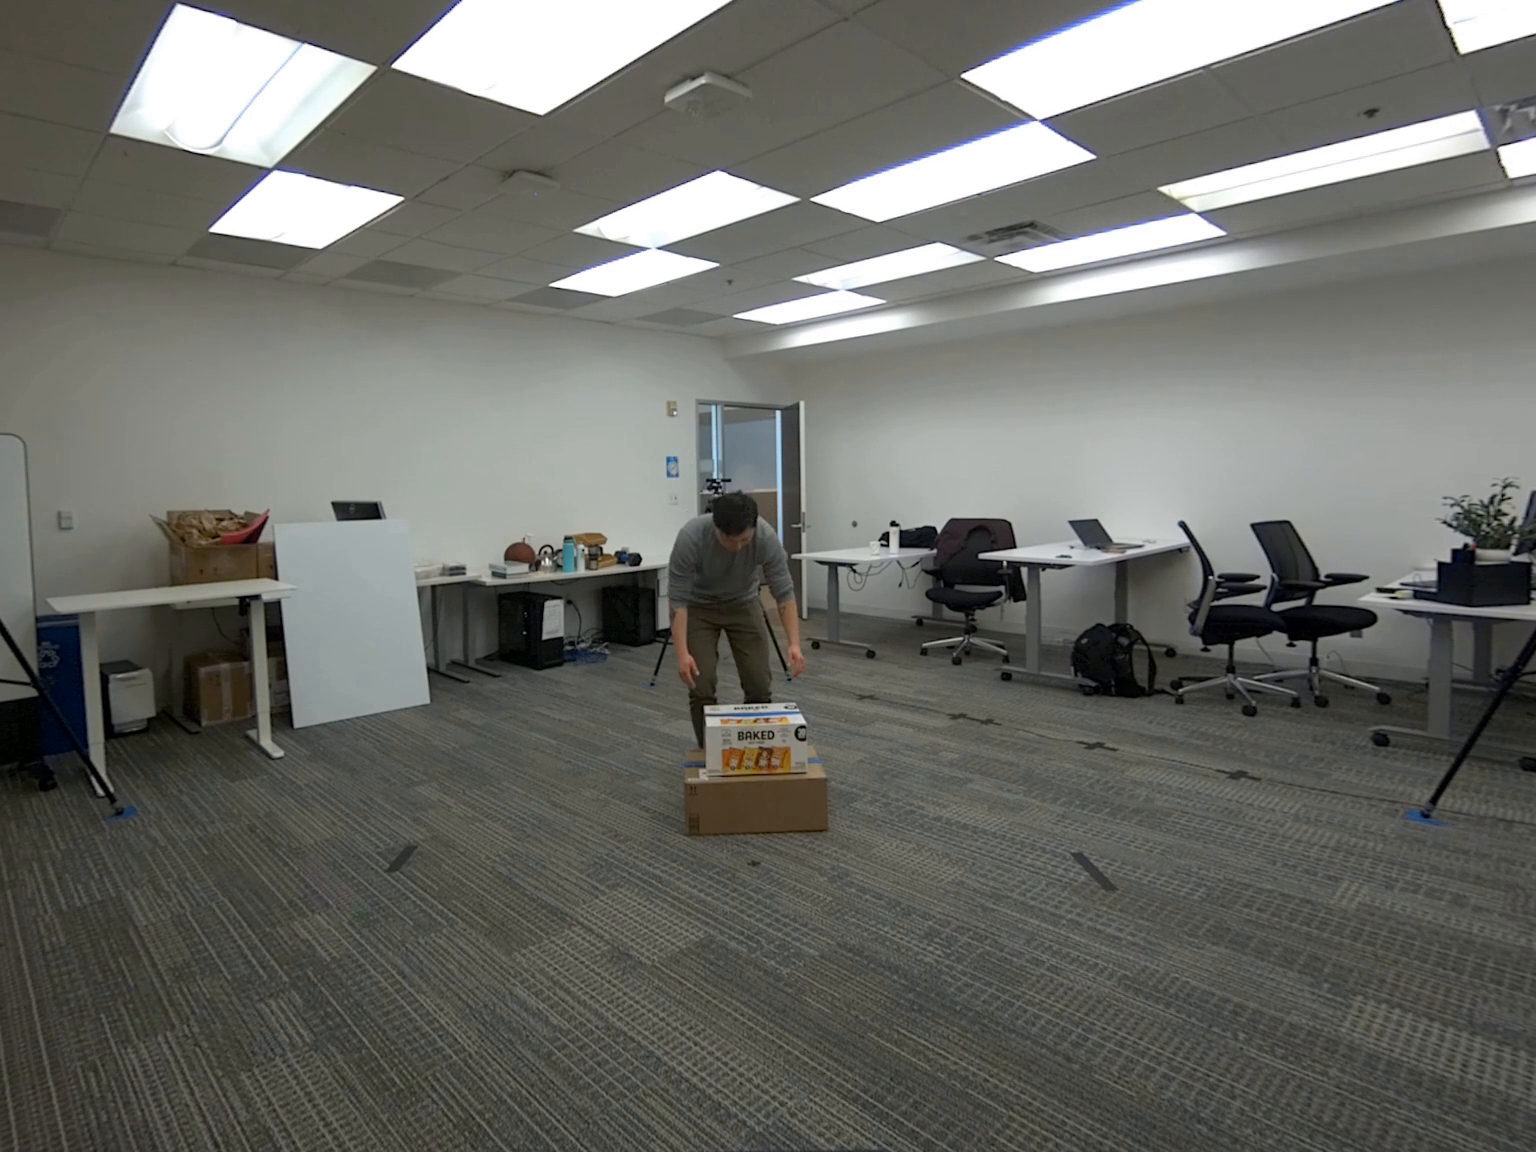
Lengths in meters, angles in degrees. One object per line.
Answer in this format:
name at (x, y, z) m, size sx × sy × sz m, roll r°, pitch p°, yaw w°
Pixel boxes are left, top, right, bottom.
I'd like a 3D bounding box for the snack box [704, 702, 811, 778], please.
snack box at (-0.059, 0.677, 3.568) m, size 0.403 × 0.205 × 0.343 m, roll -2°, pitch 5°, yaw -5°
